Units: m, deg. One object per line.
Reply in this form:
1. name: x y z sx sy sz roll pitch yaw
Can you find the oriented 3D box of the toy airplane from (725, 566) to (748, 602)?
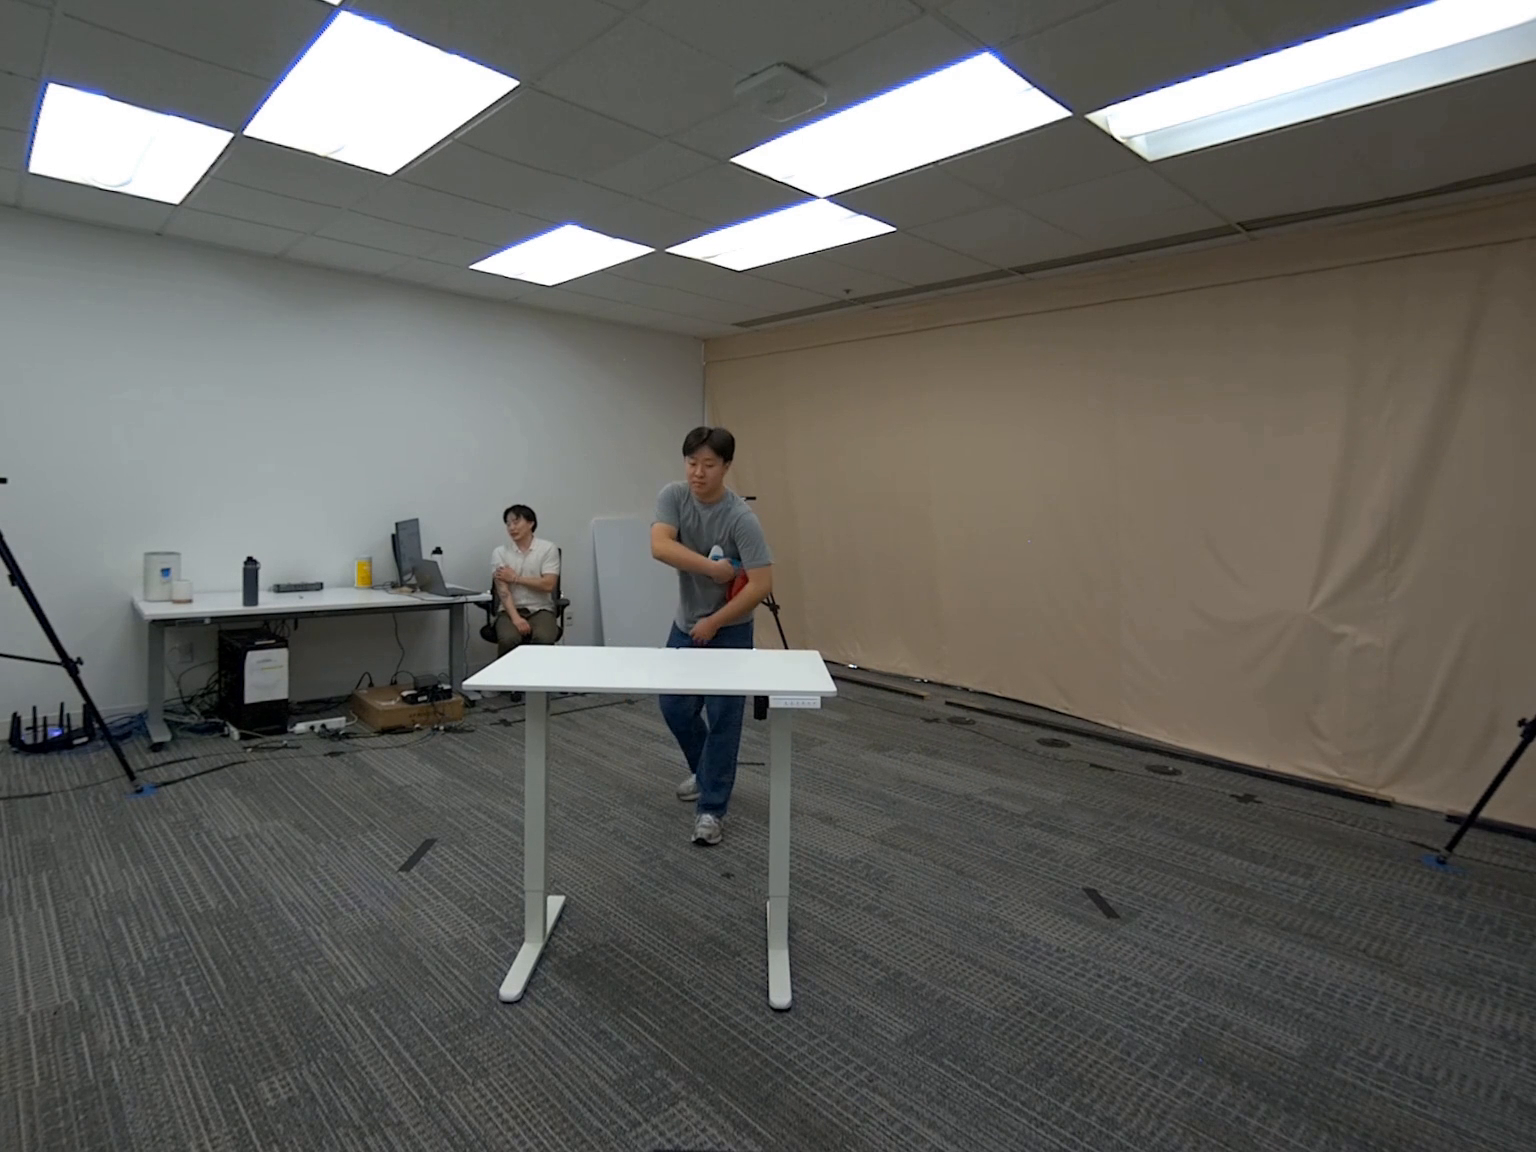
1. toy airplane: -0.153 -0.009 3.447 0.254 0.251 0.160 -2 2 -31
